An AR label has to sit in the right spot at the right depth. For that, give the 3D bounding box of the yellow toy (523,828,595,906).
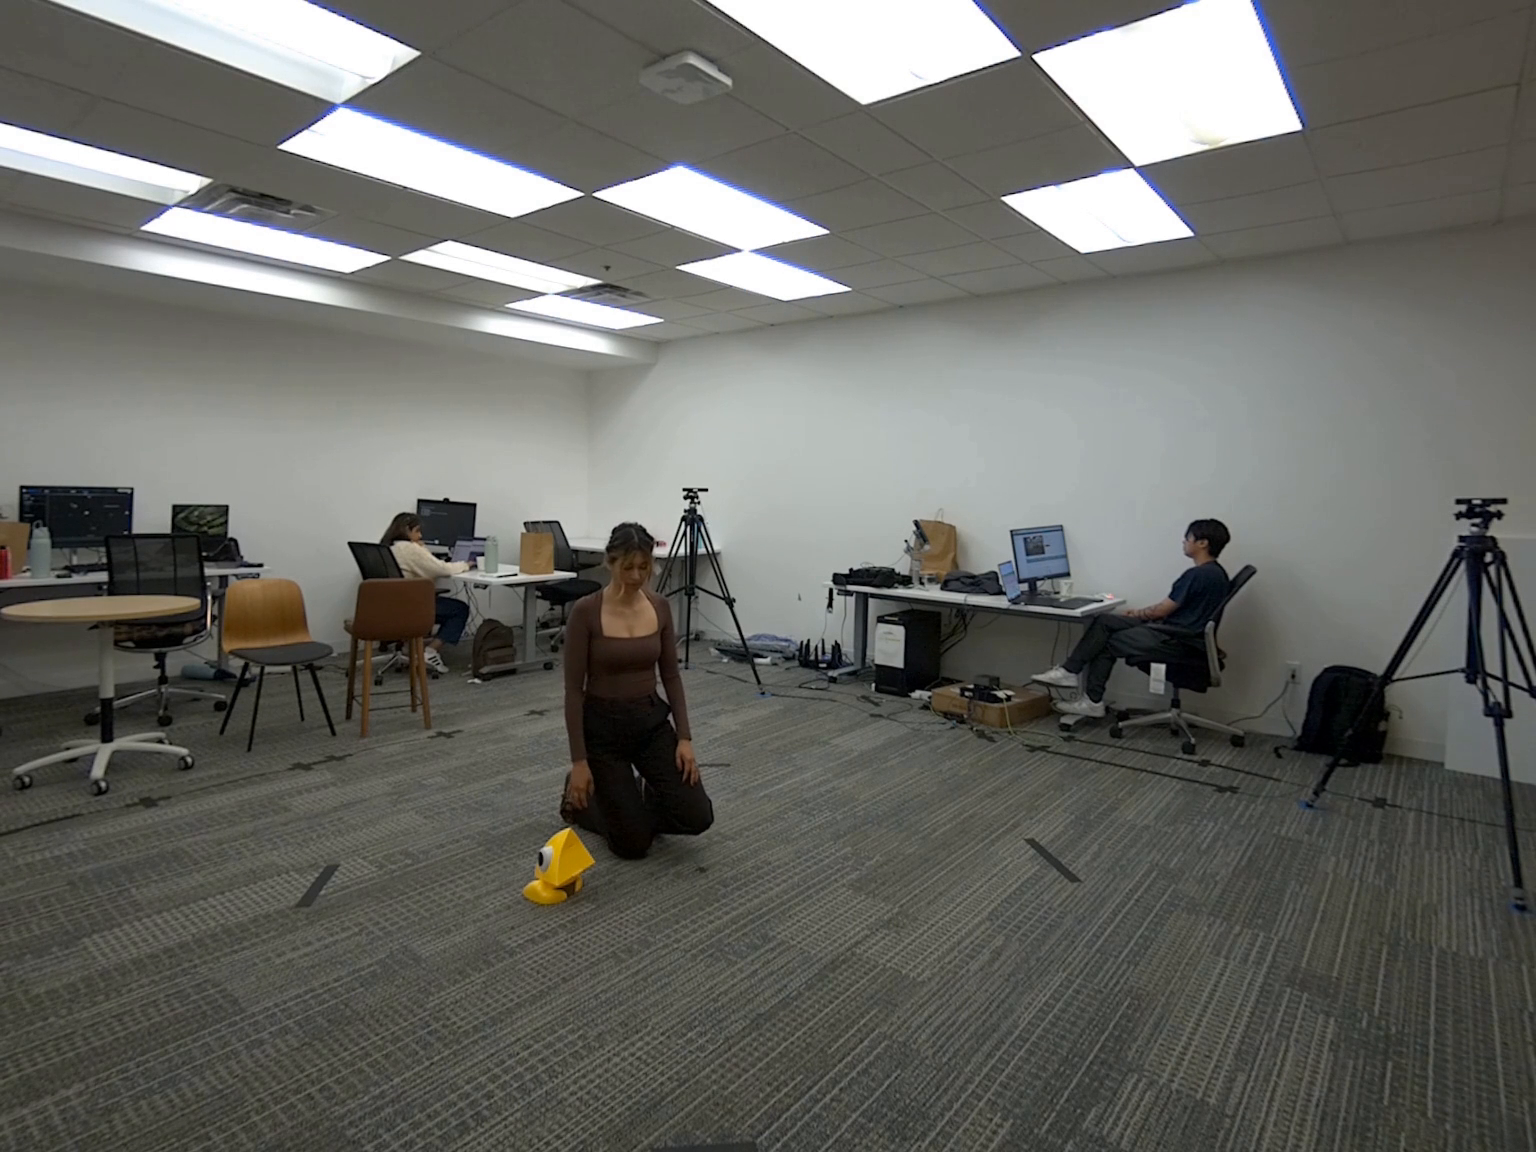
[{"bbox_3d":[-0.739,0.967,2.920,0.198,0.230,0.200,3,5,28],"label":"yellow toy"}]
